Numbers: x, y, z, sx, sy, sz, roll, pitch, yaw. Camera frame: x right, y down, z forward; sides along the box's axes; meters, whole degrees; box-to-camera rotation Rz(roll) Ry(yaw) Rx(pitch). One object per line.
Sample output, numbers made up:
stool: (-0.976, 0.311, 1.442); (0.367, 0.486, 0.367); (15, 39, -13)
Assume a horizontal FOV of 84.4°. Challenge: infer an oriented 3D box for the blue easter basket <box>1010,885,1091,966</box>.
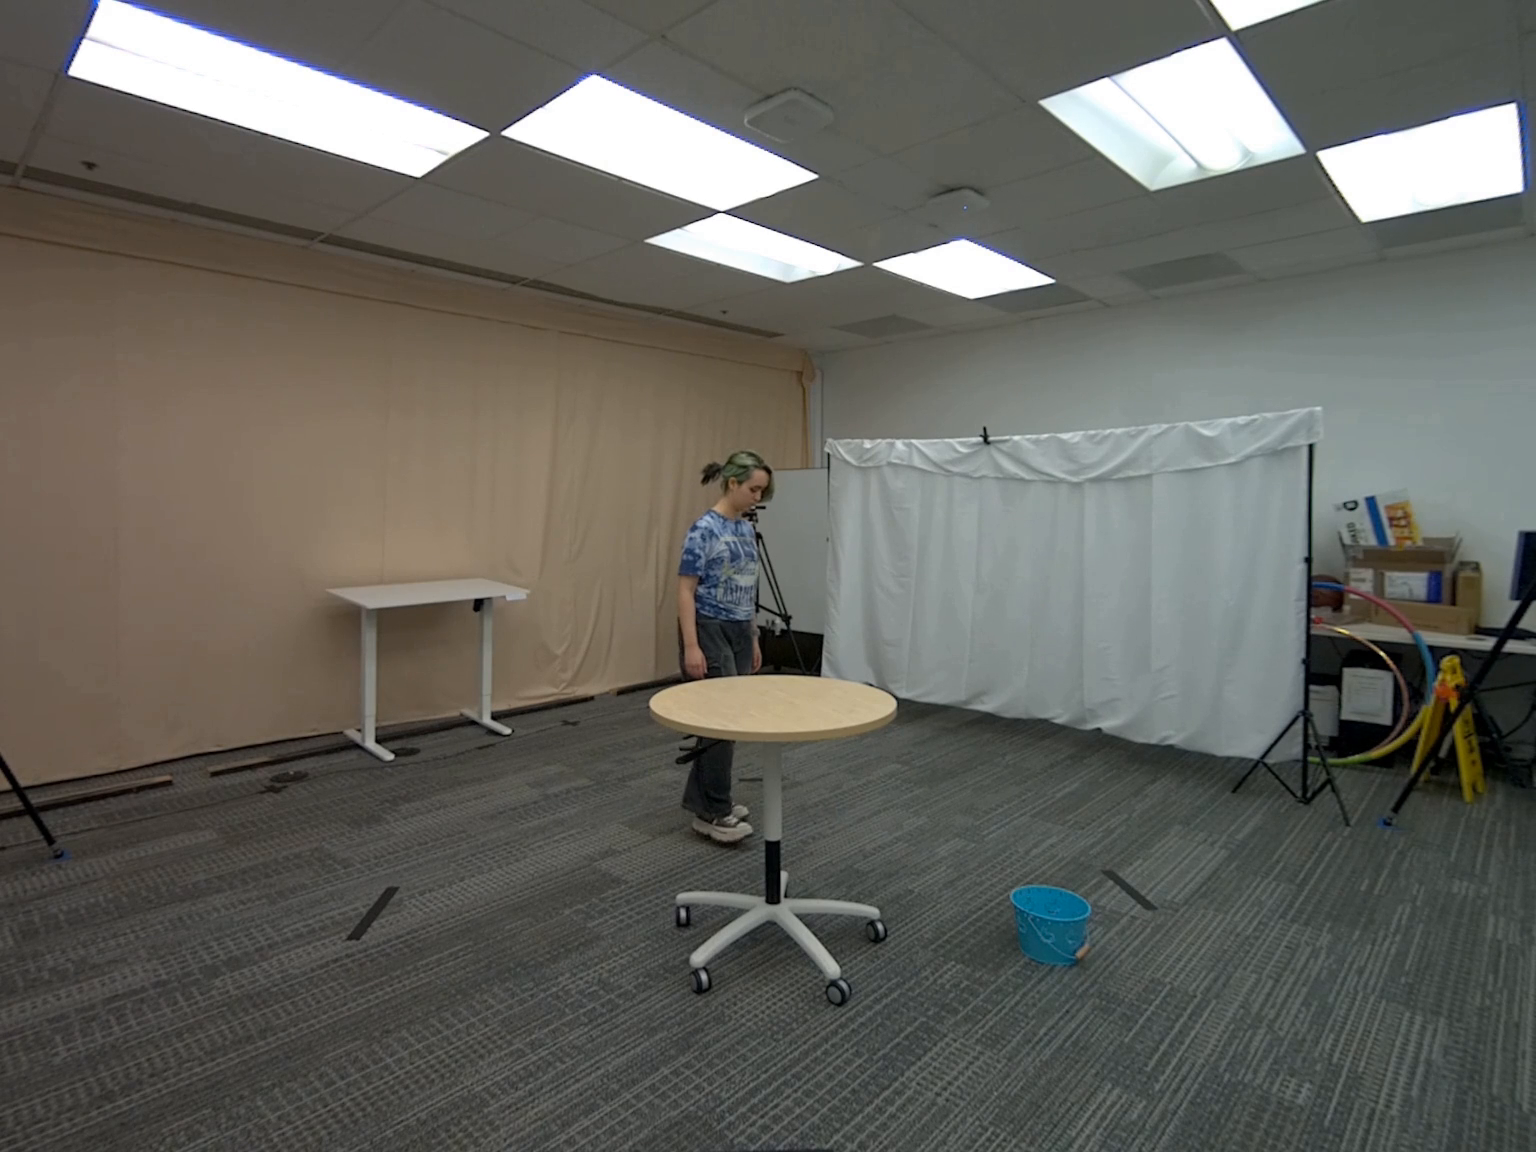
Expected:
blue easter basket: (0.887, 1.094, 2.626); (0.243, 0.155, 0.244); (0, 4, -2)
